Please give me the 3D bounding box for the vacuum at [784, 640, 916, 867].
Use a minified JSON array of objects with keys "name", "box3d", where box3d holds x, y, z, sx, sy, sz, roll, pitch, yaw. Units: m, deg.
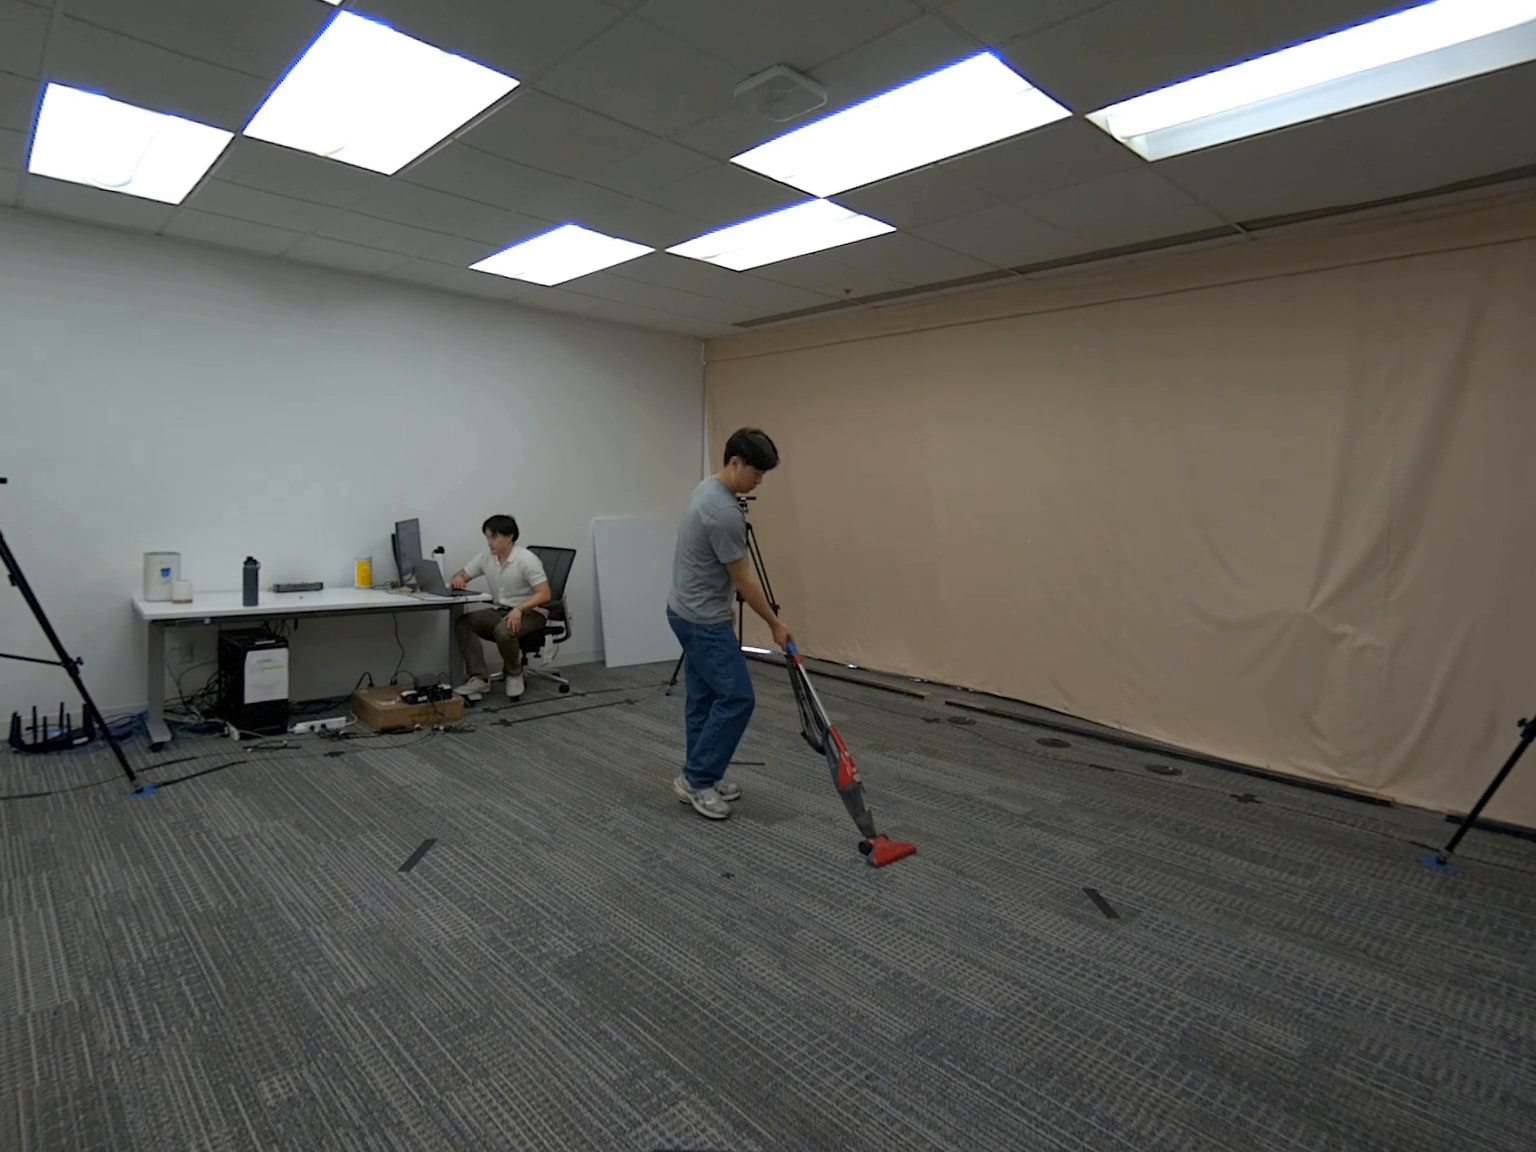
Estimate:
[{"name":"vacuum","box3d":[0.247,0.664,3.541,0.246,1.074,0.144,6,-40,-47]}]
